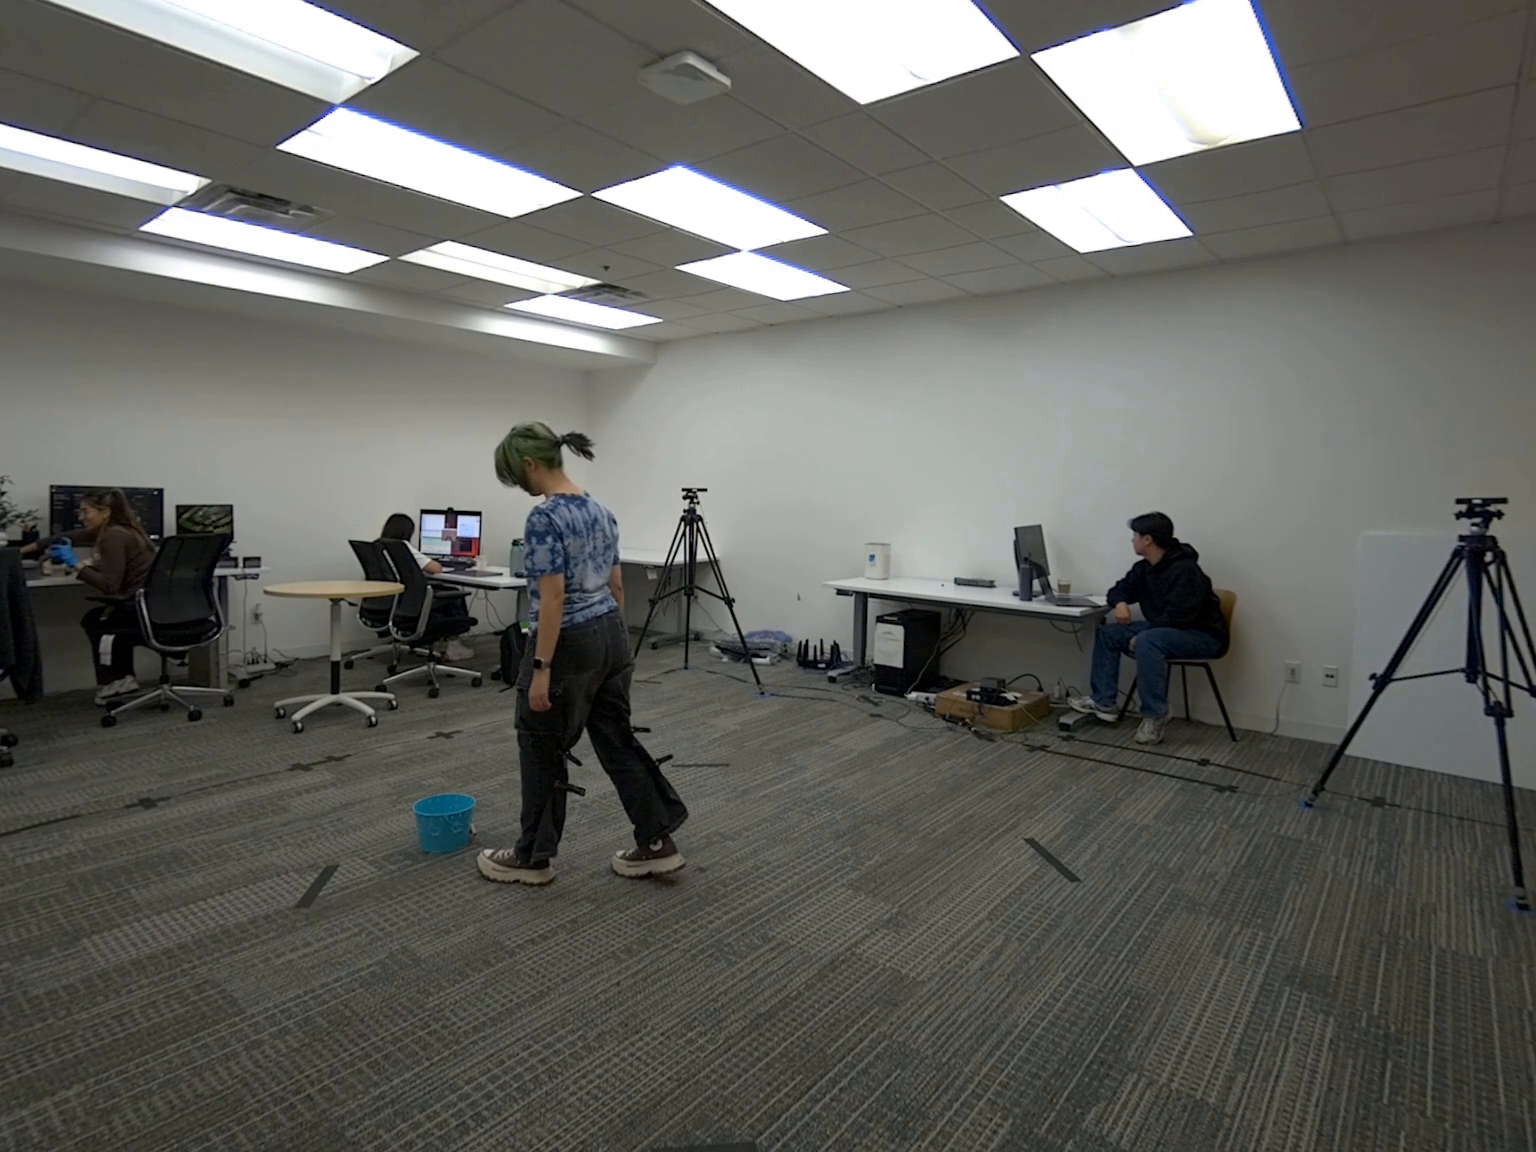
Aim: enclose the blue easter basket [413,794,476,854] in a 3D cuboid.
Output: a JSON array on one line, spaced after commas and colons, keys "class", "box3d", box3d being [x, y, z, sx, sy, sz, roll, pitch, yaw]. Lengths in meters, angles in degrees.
[{"class": "blue easter basket", "box3d": [-1.268, 0.958, 3.300, 0.243, 0.155, 0.245, 0, 5, -2]}]
